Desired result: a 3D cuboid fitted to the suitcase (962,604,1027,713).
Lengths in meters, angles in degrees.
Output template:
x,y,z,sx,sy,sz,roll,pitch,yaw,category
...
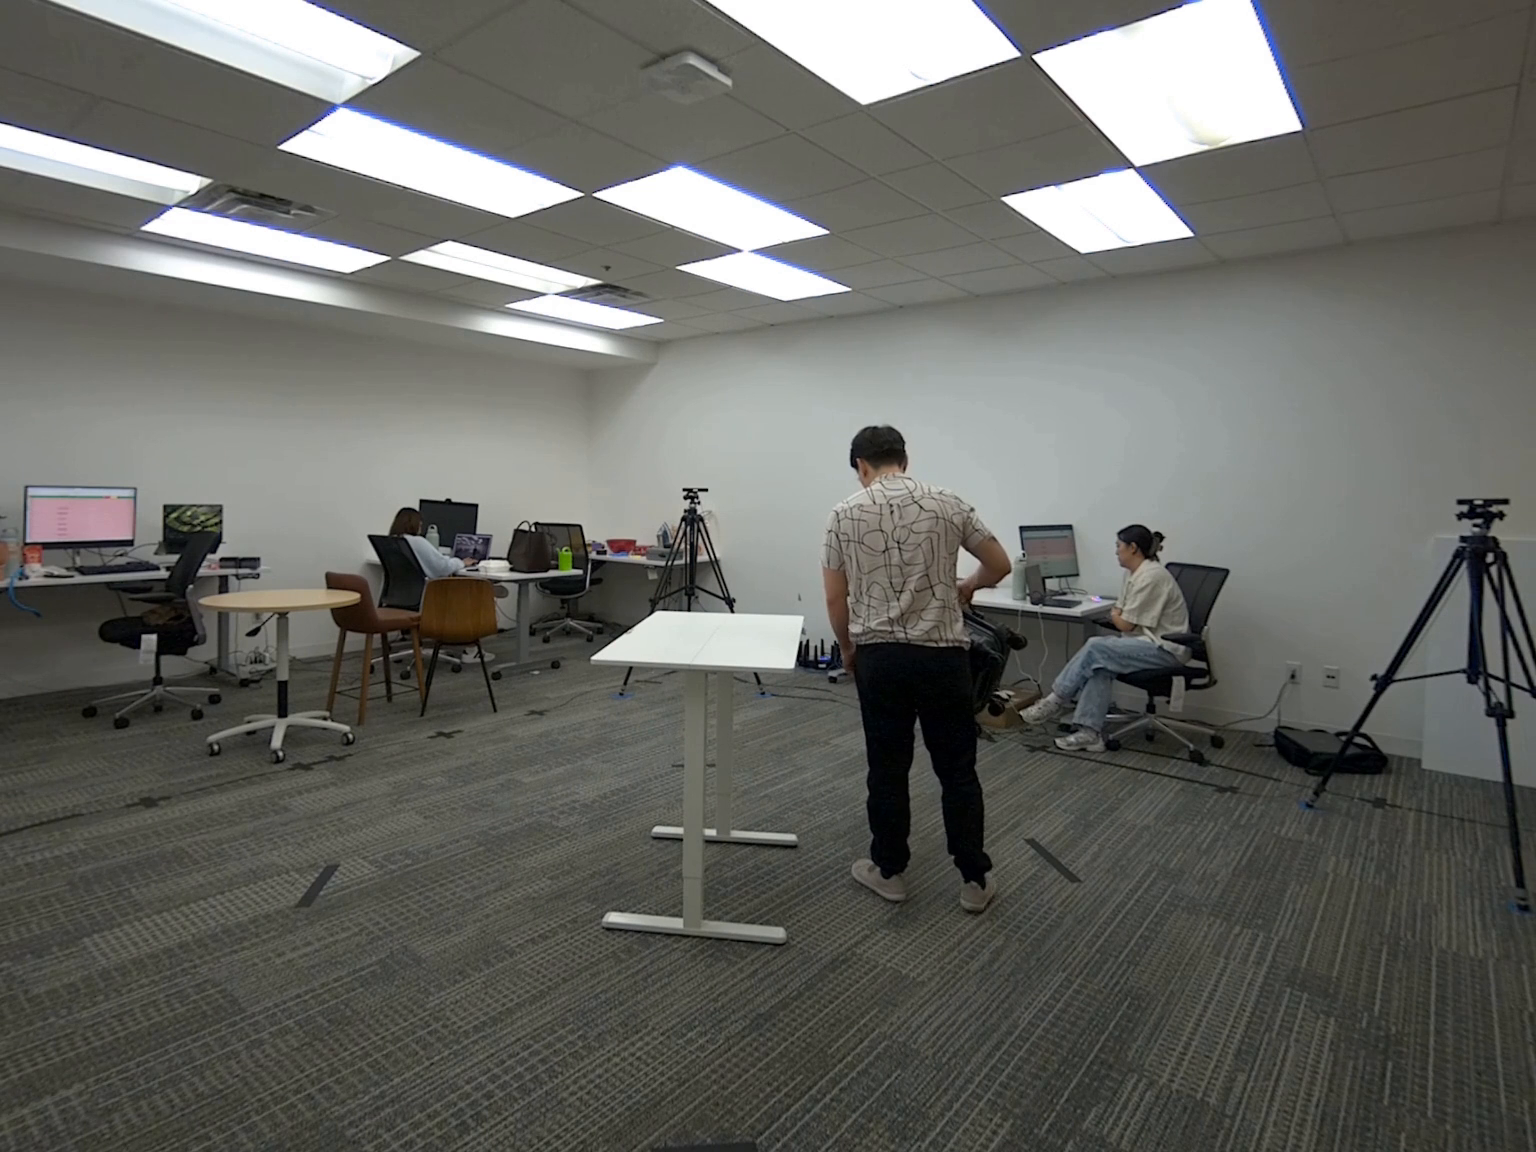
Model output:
x,y,z,sx,sy,sz,roll,pitch,yaw,category
0.629,0.269,3.198,0.571,0.369,0.243,27,30,33,suitcase
